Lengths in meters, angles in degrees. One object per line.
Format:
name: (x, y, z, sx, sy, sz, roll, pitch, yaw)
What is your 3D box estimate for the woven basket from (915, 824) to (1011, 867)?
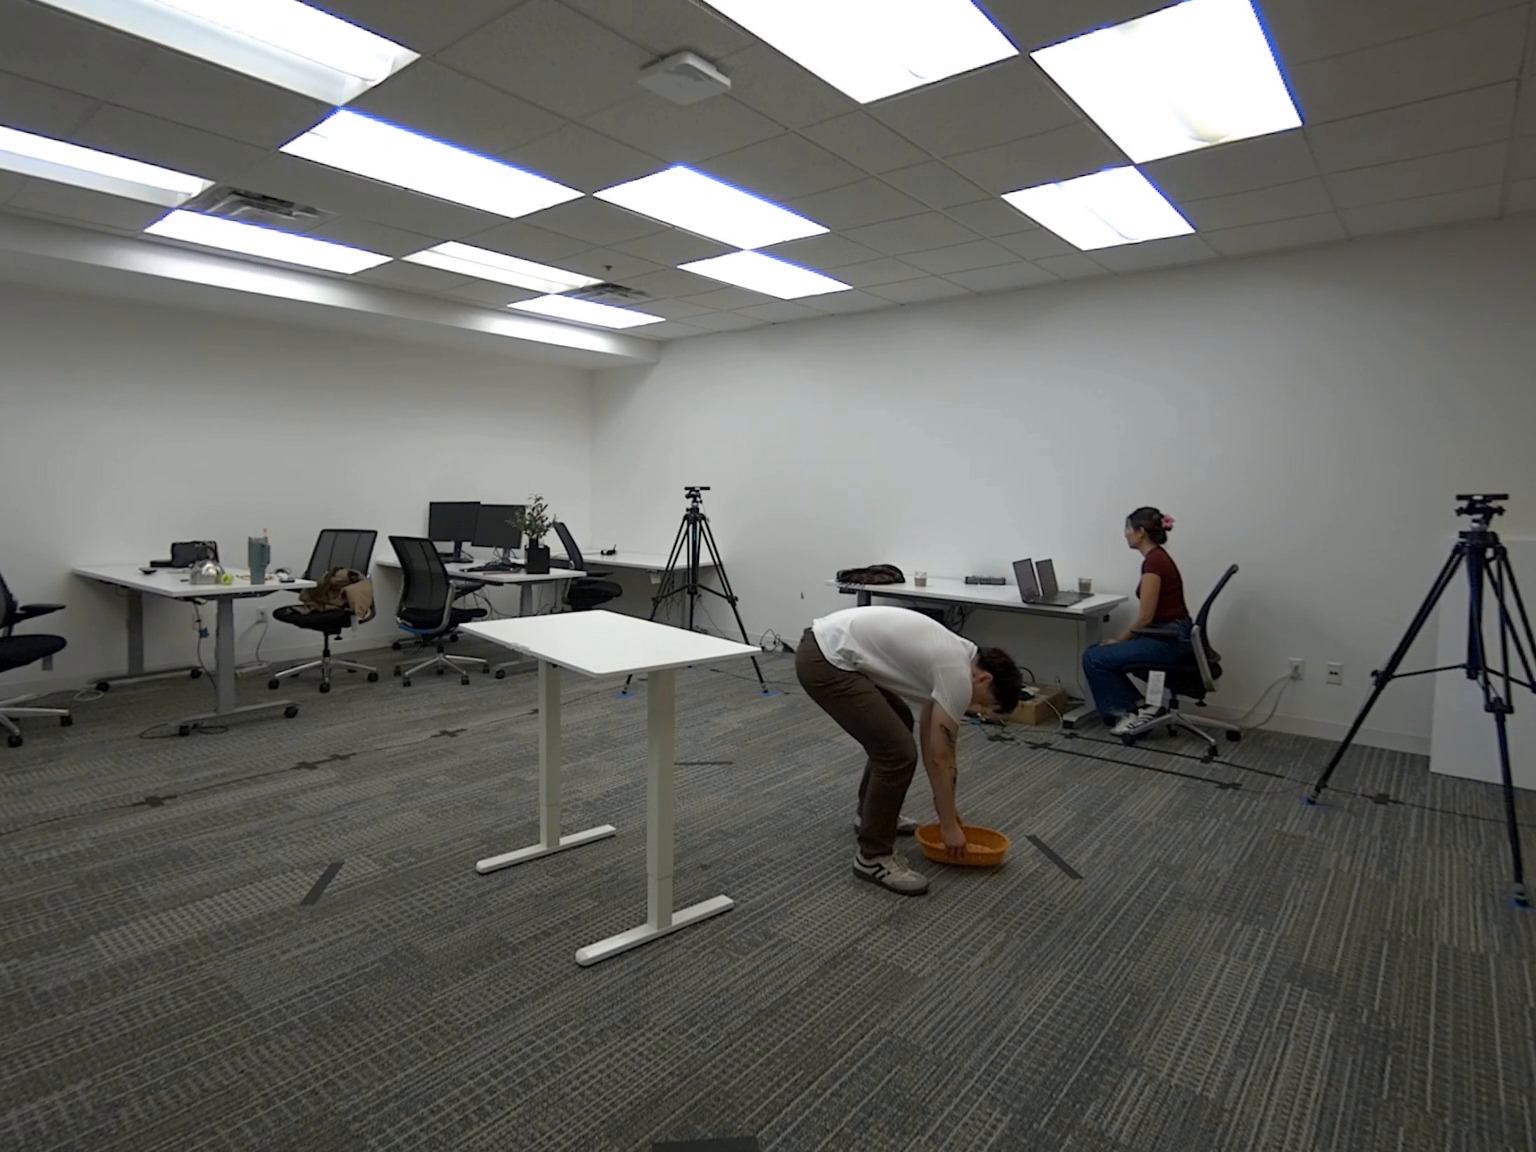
woven basket: (0.728, 1.012, 3.214, 0.354, 0.073, 0.251, 1, 5, 8)
